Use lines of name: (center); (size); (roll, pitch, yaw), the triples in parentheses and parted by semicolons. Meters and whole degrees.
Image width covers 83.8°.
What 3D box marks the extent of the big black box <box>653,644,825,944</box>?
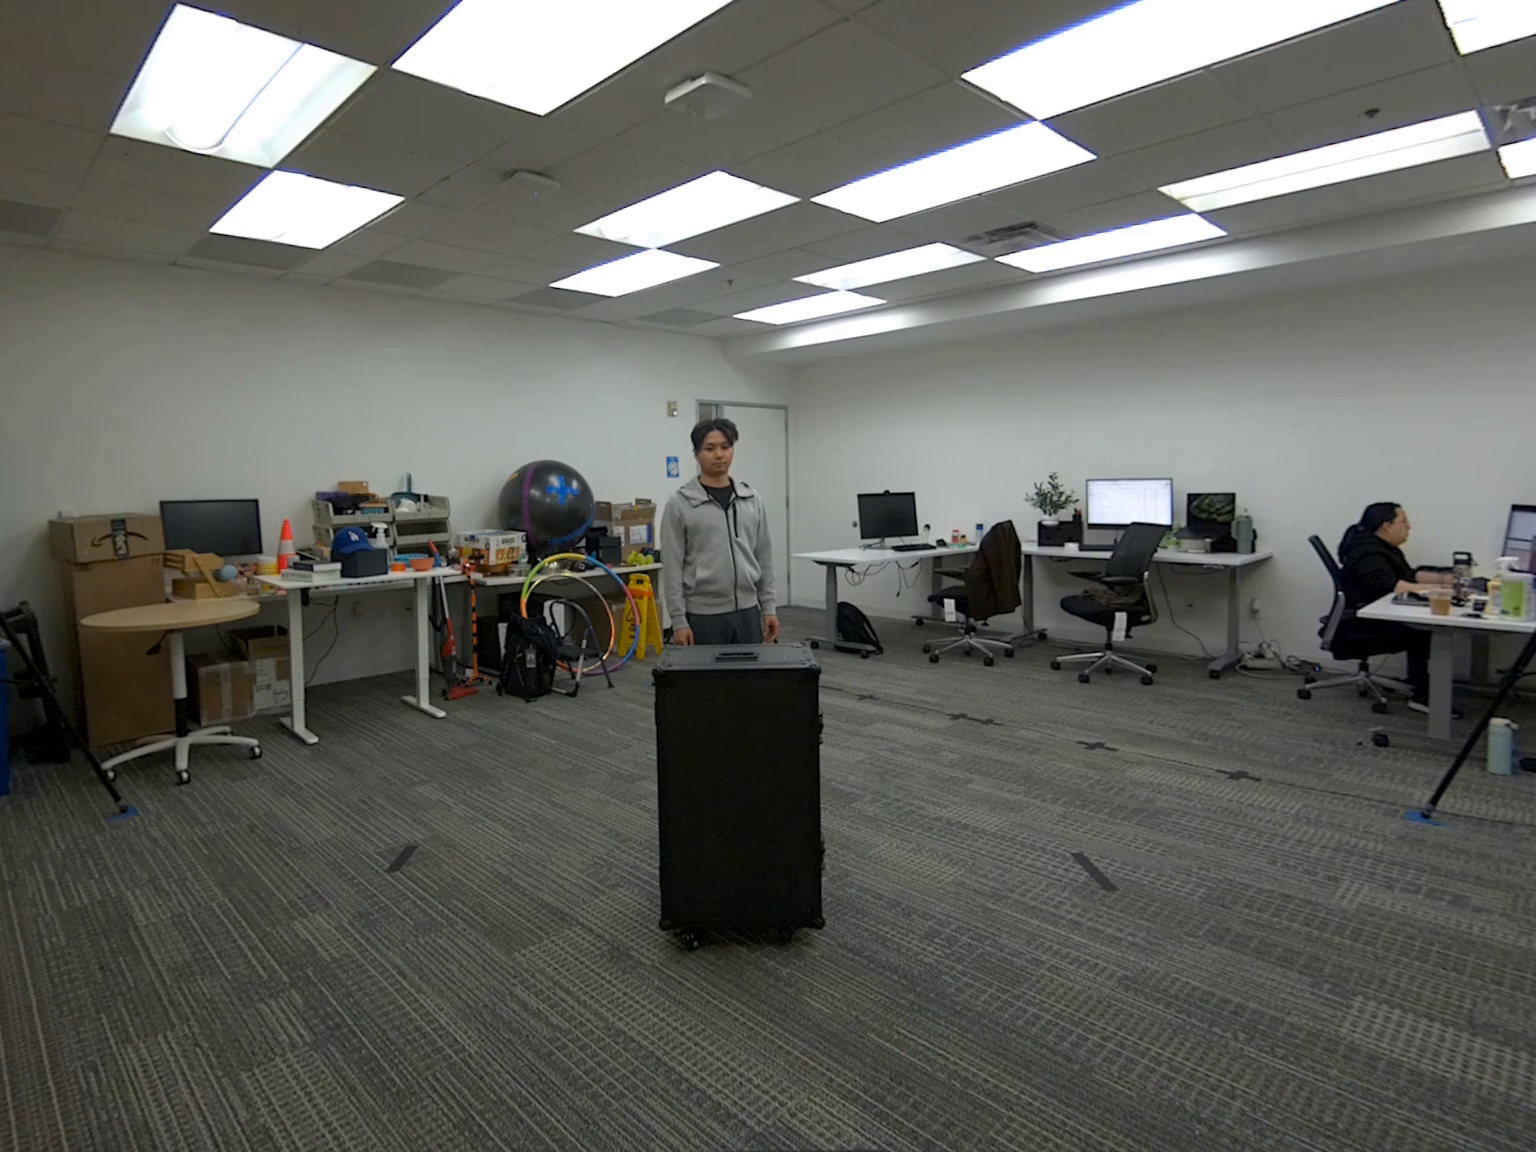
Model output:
big black box: (-0.095, 0.677, 2.683); (0.521, 0.859, 0.397); (-2, 3, 0)
